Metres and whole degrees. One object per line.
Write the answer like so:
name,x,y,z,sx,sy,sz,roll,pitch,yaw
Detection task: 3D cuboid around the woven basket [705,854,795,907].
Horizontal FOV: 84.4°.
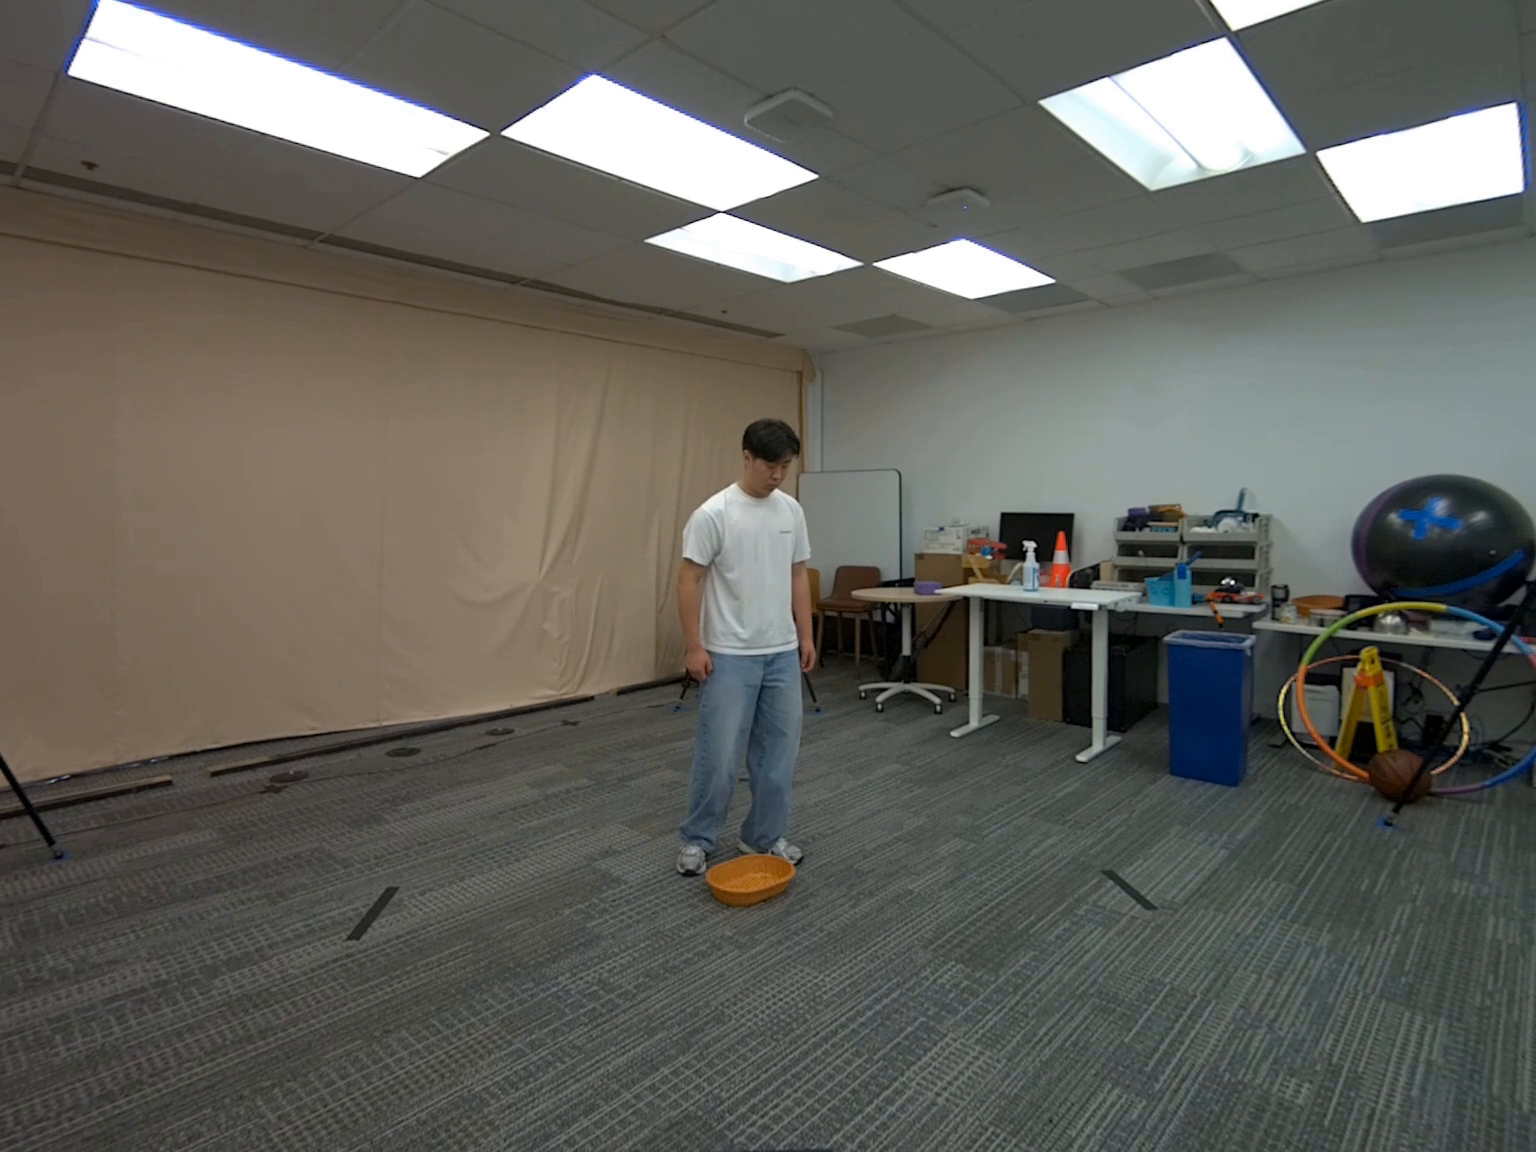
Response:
woven basket,-0.053,1.095,3.042,0.340,0.073,0.261,-3,5,-38
